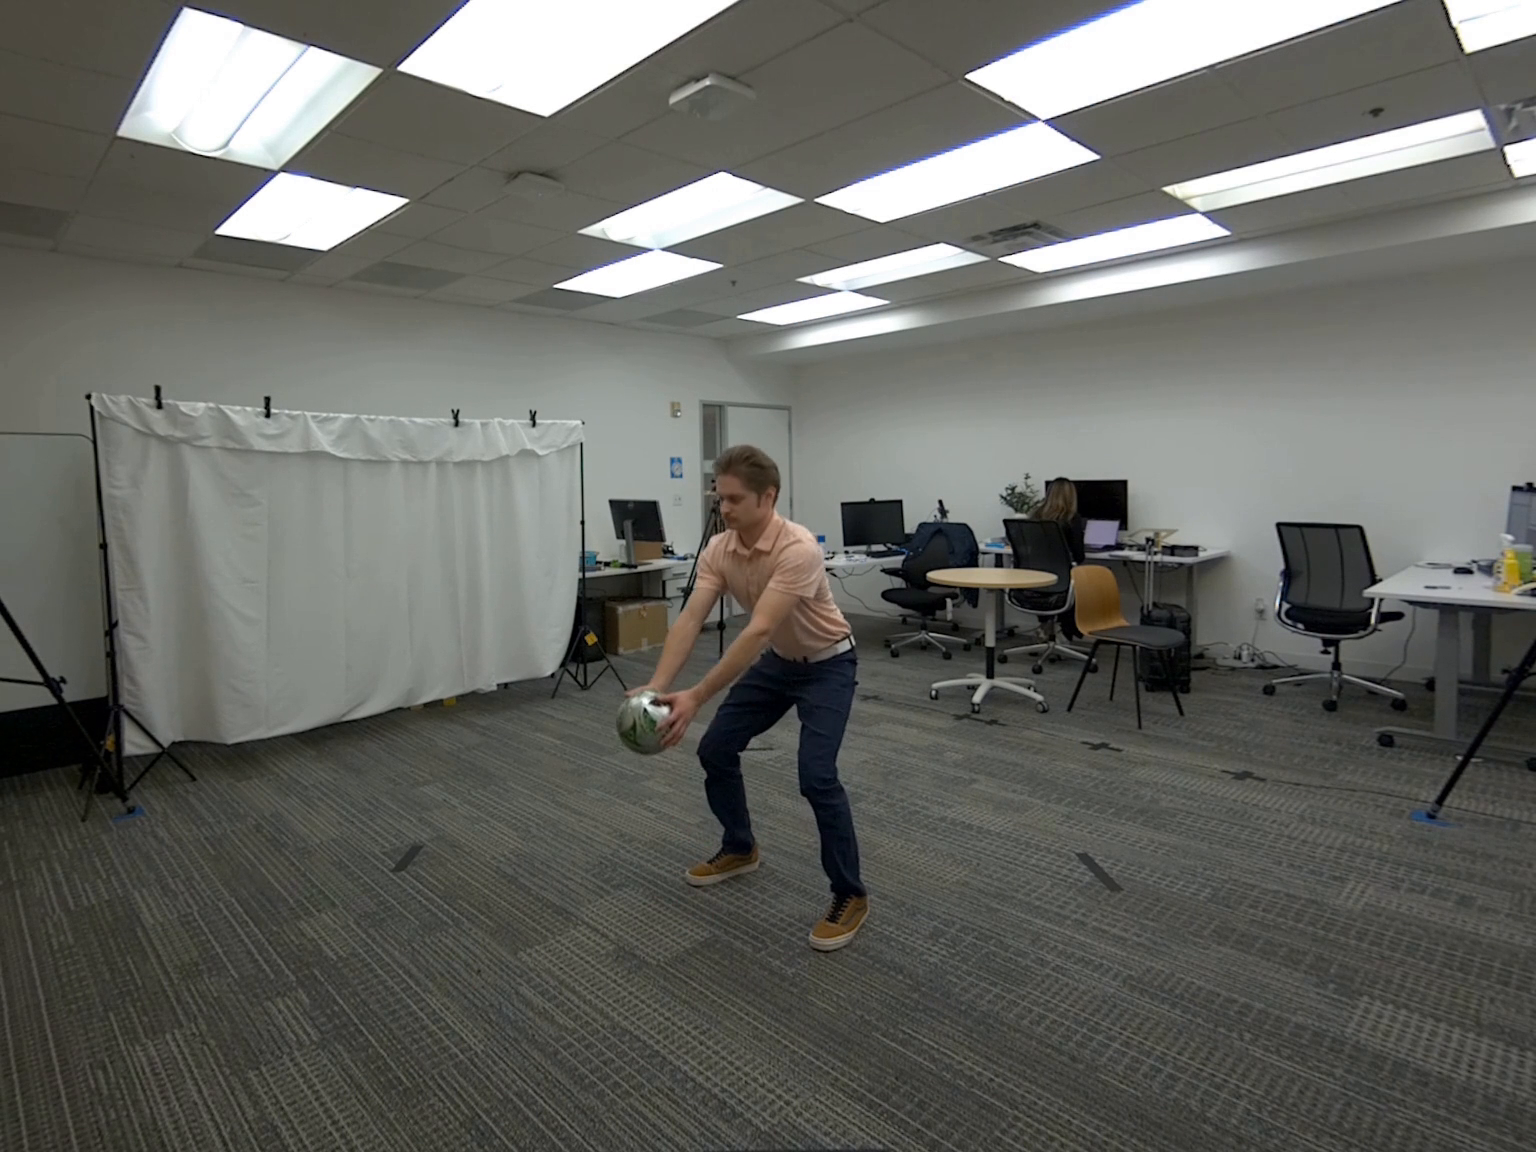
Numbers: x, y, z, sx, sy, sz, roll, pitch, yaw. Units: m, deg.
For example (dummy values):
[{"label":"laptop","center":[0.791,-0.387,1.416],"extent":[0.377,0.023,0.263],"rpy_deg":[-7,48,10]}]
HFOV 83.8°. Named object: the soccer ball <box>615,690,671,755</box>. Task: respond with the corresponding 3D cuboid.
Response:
[{"label":"soccer ball","center":[-0.348,0.437,2.468],"extent":[0.187,0.187,0.188],"rpy_deg":[-1,5,-2]}]
